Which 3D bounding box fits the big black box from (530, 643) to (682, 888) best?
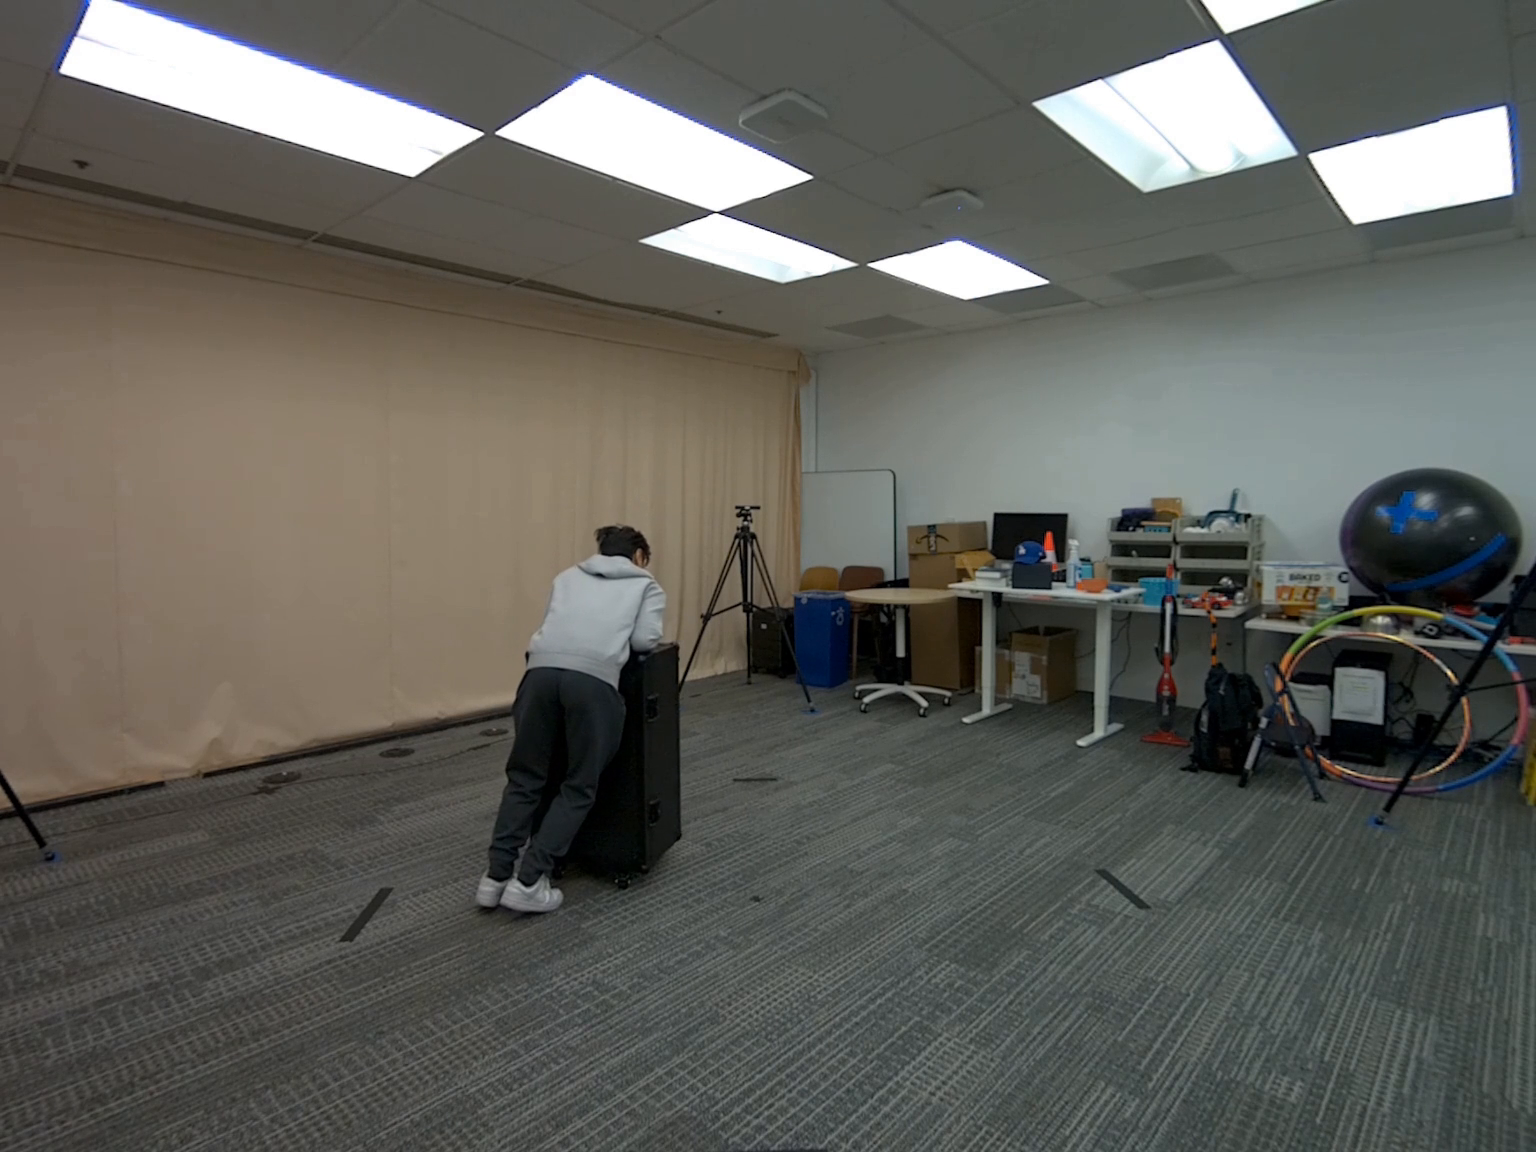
[{"bbox_3d":[-0.625,0.702,3.275,0.532,0.860,0.389,1,2,19],"label":"big black box"}]
